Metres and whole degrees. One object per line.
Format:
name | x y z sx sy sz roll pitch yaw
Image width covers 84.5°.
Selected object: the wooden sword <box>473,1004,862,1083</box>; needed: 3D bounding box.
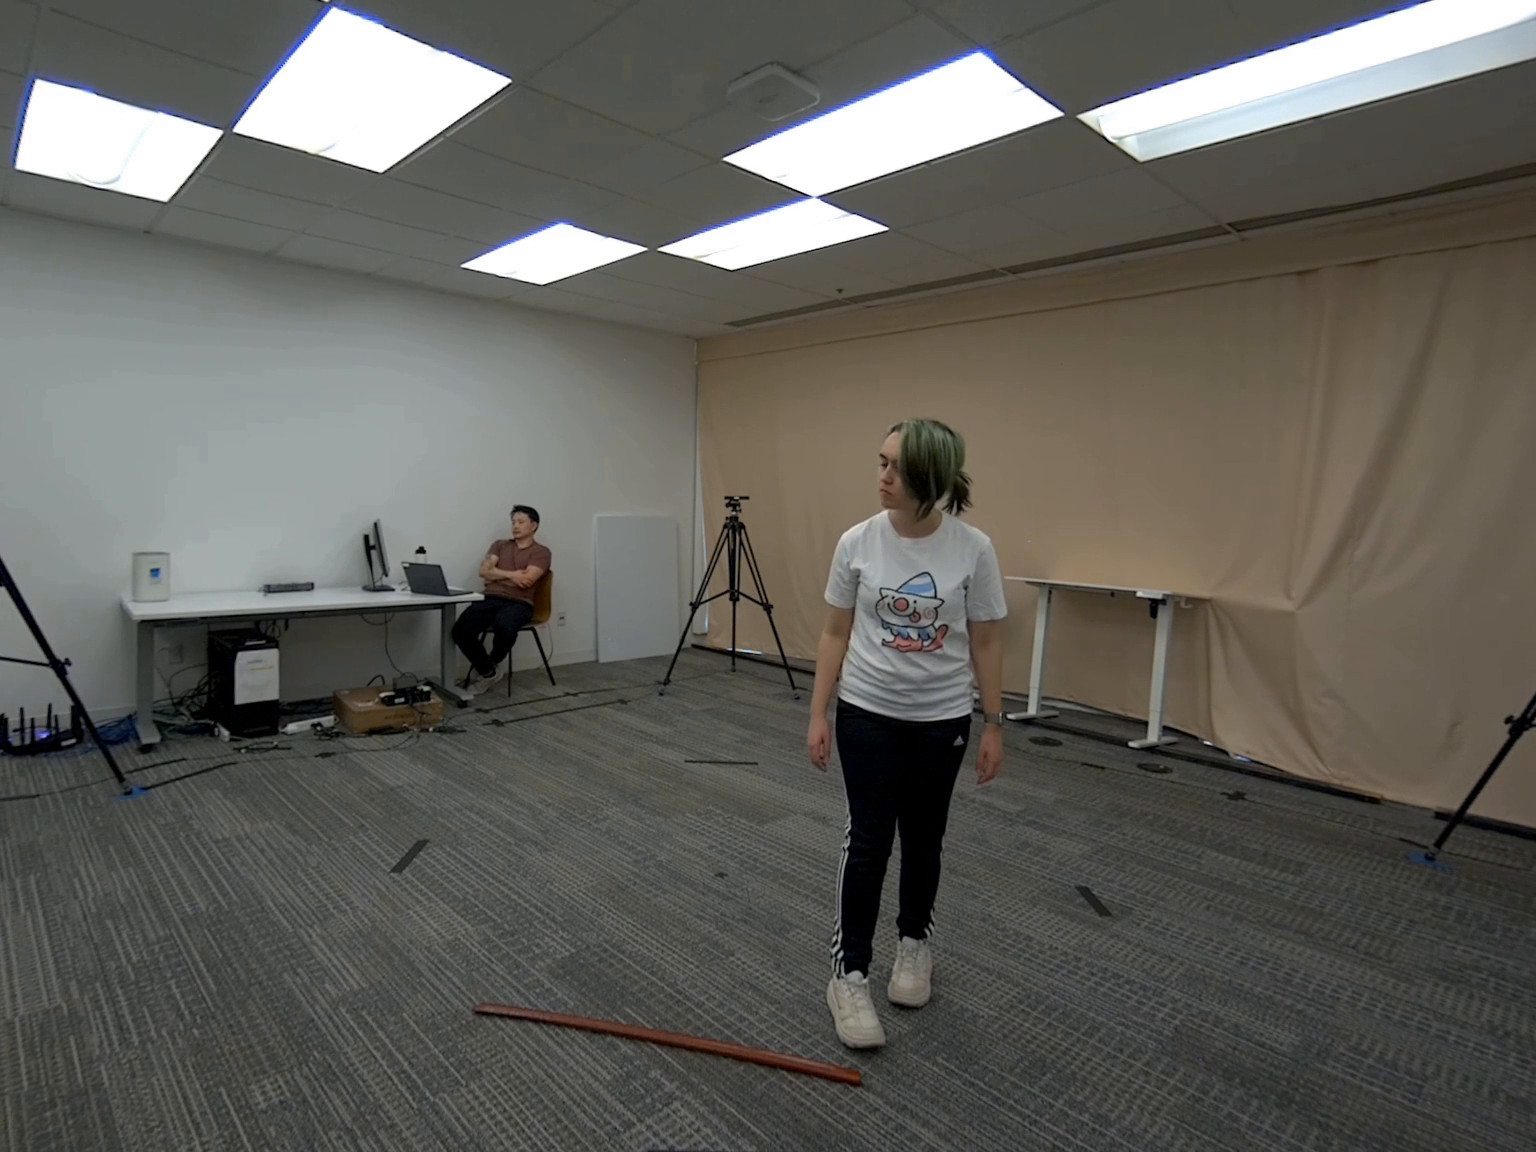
wooden sword | -0.269 1.157 2.161 1.036 0.024 0.050 3 -22 14
